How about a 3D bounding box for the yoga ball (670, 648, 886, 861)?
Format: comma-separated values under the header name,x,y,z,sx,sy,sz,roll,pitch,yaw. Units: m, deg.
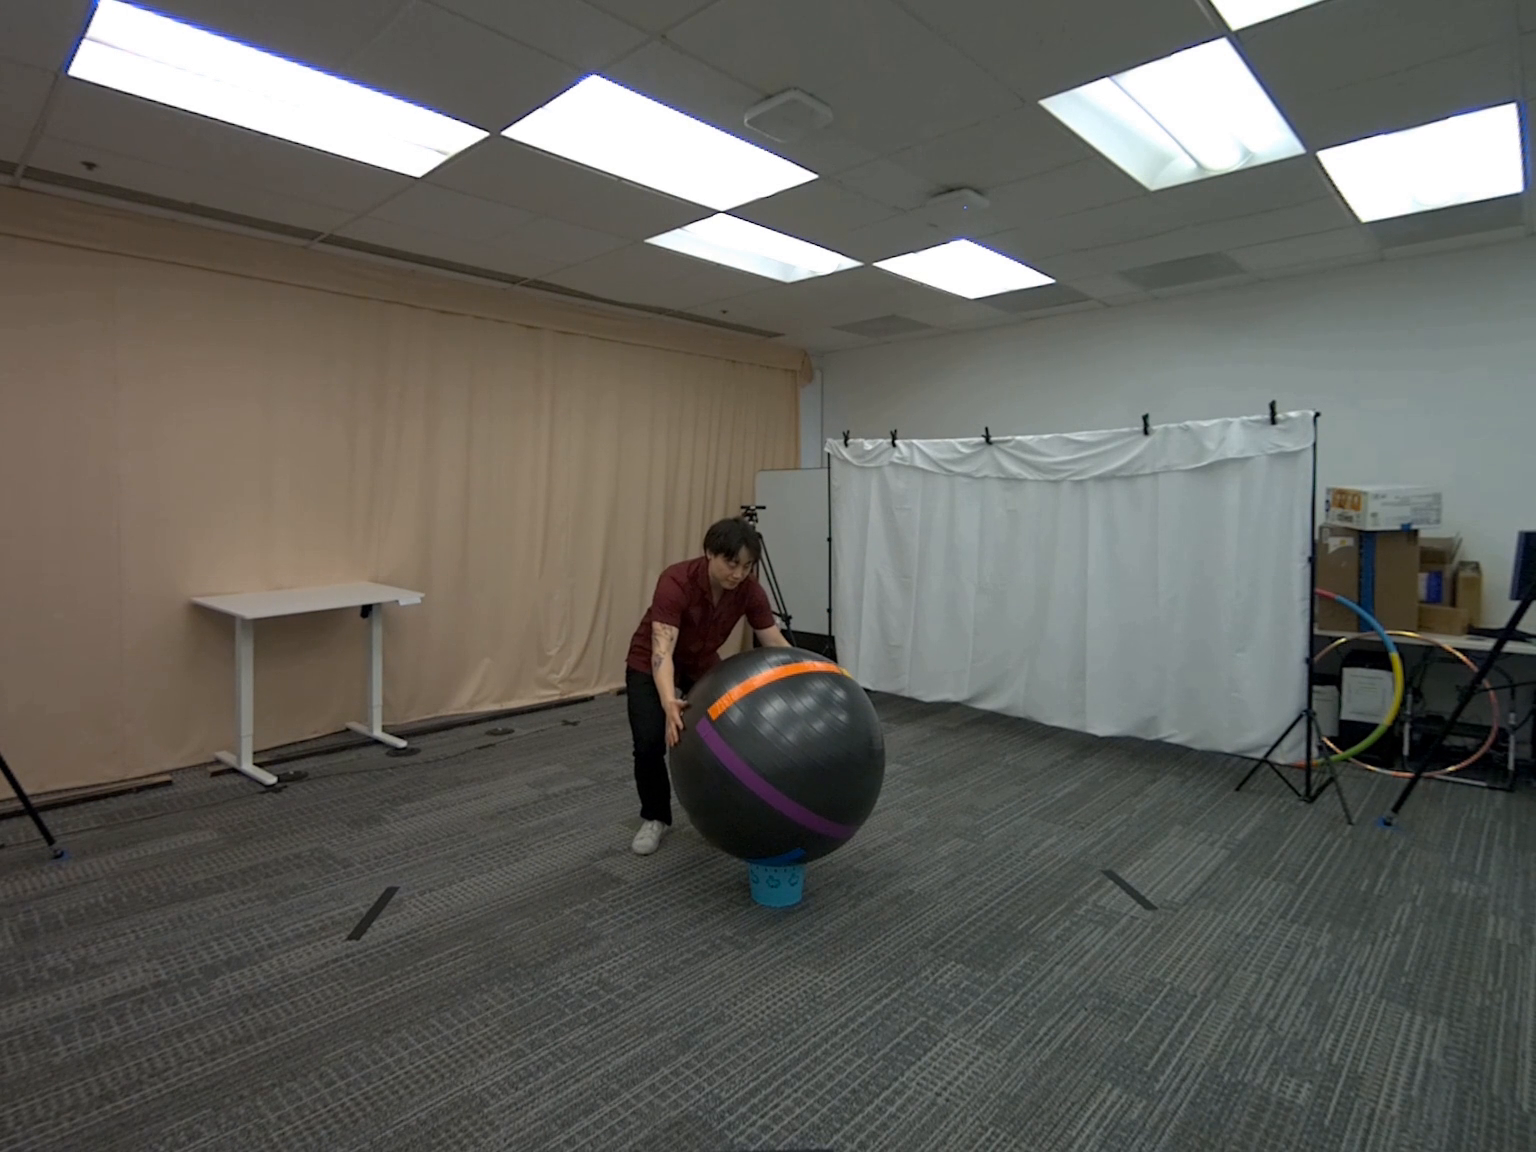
name,x,y,z,sx,sy,sz,roll,pitch,yaw
yoga ball,0.037,0.637,2.986,0.757,0.756,0.761,0,4,-2
